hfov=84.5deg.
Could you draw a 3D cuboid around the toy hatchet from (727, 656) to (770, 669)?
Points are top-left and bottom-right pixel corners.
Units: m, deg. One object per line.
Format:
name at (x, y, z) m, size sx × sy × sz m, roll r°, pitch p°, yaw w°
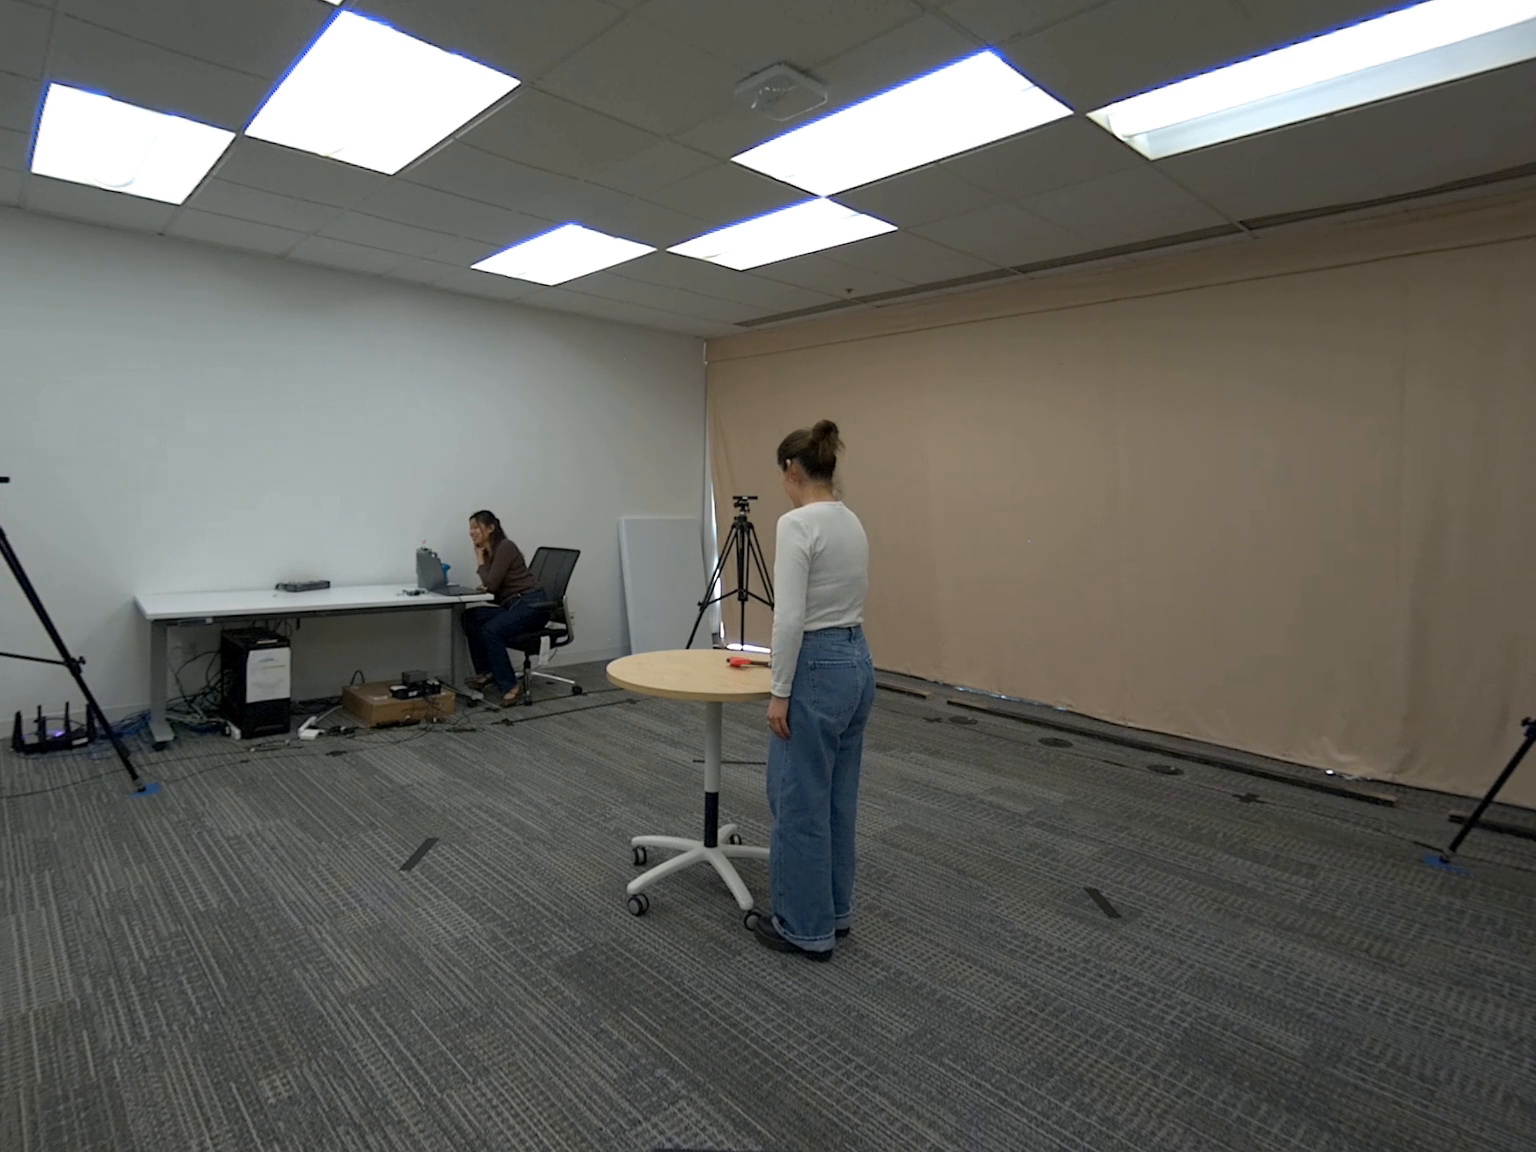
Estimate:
toy hatchet at (-0.020, 0.312, 3.009) m, size 0.273 × 0.030 × 0.128 m, roll 0°, pitch -12°, yaw 13°
